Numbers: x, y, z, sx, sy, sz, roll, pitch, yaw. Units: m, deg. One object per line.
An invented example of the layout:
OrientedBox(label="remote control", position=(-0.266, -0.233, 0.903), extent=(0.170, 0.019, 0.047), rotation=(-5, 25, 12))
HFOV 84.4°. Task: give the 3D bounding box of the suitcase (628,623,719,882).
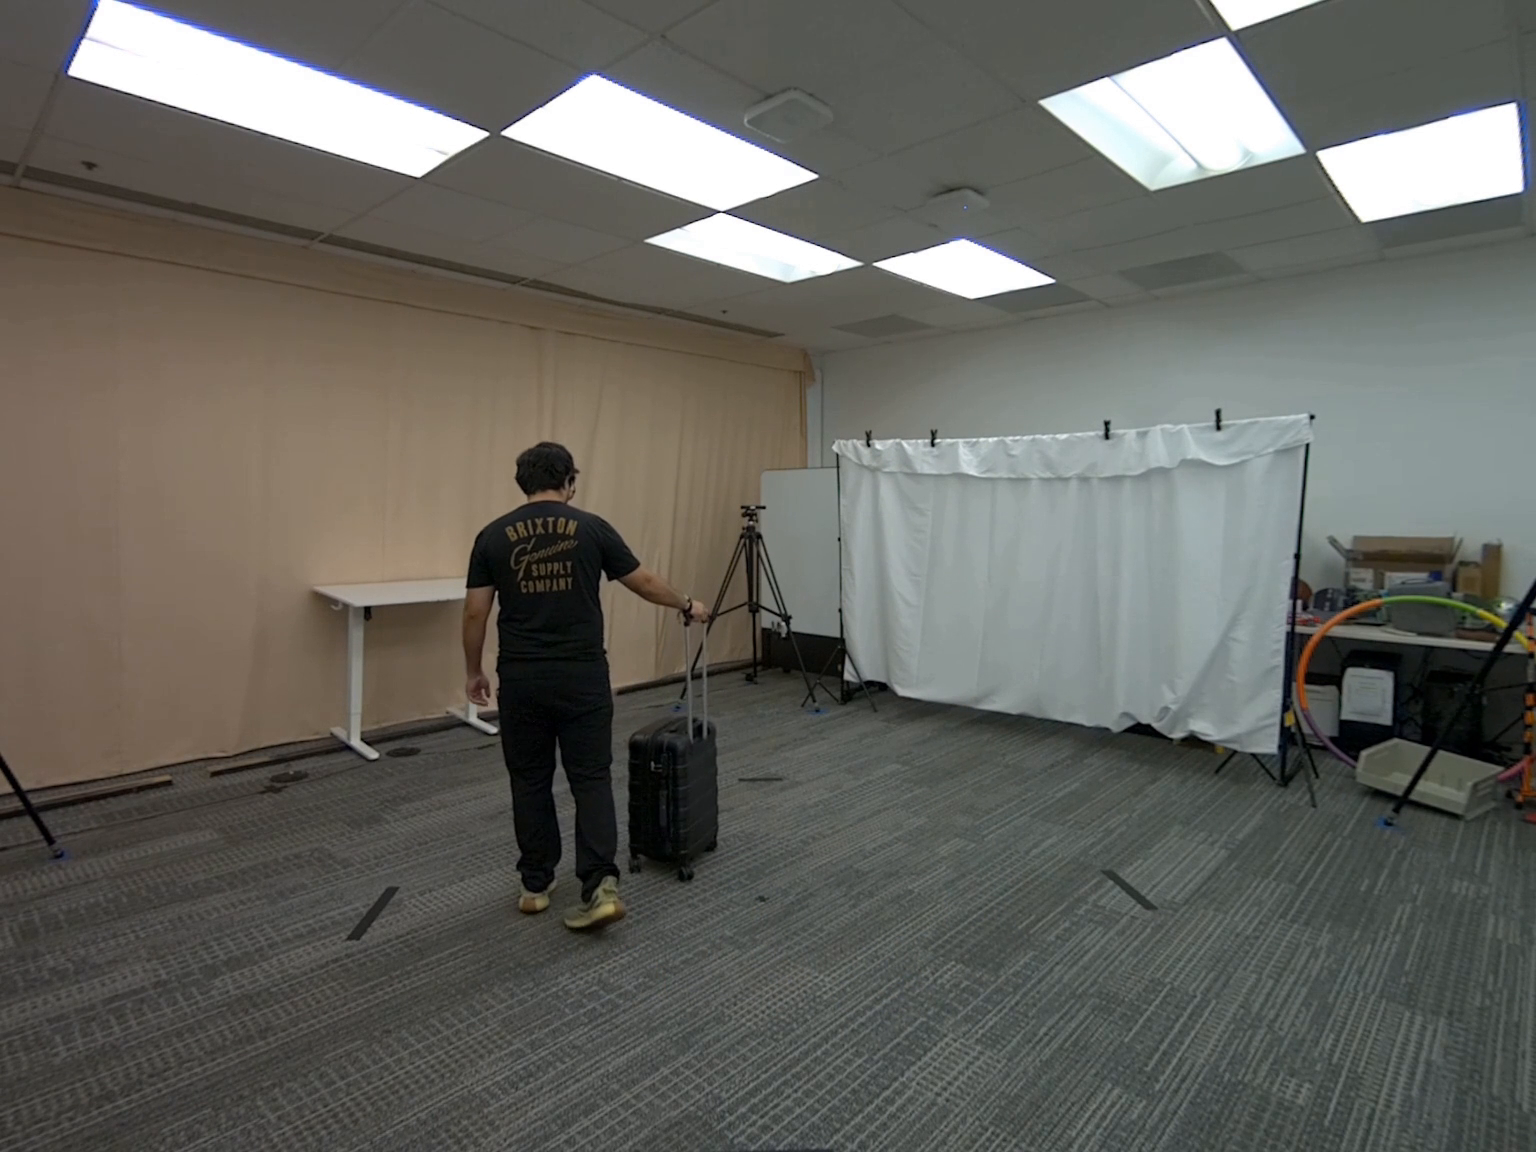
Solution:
OrientedBox(label="suitcase", position=(-0.377, 0.639, 3.306), extent=(0.262, 0.977, 0.376), rotation=(-1, 2, 20))
